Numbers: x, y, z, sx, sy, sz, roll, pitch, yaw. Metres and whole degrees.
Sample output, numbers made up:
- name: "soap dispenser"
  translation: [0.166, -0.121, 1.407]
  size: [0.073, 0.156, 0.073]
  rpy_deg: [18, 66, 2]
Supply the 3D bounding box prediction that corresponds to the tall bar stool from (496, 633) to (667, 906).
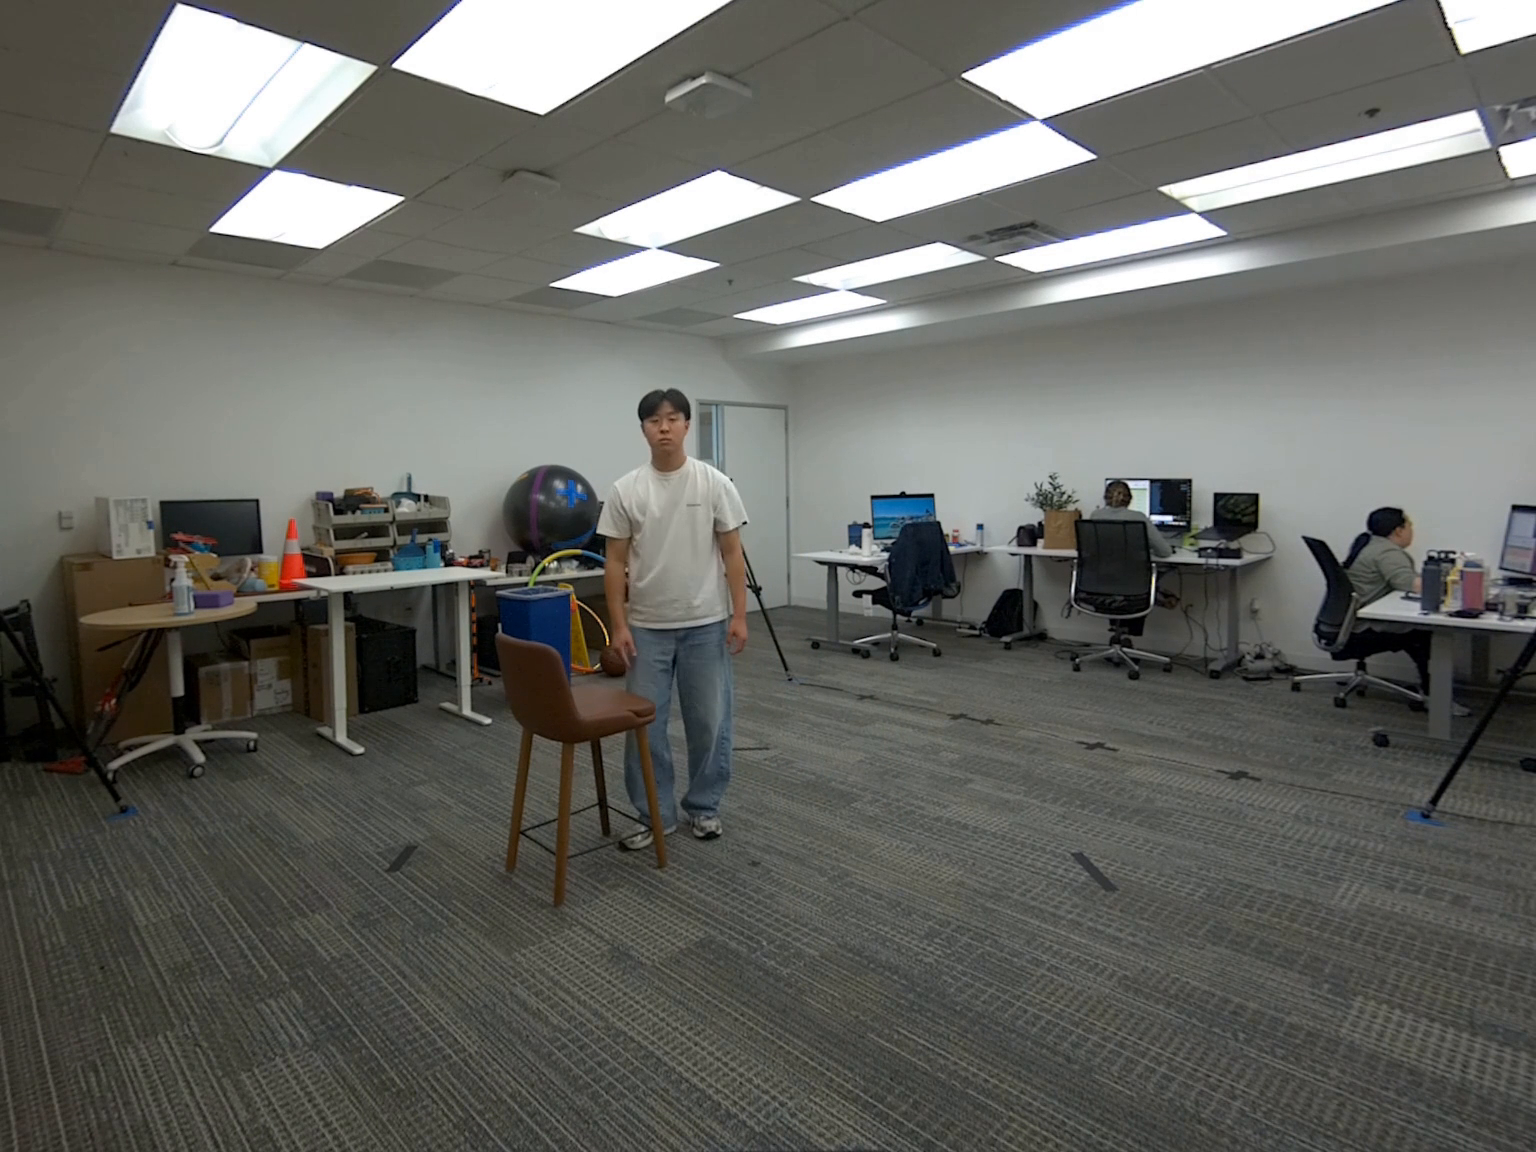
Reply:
- name: "tall bar stool"
  translation: [-0.674, 0.624, 3.062]
  size: [0.456, 0.885, 0.470]
  rpy_deg: [-7, 7, -41]
